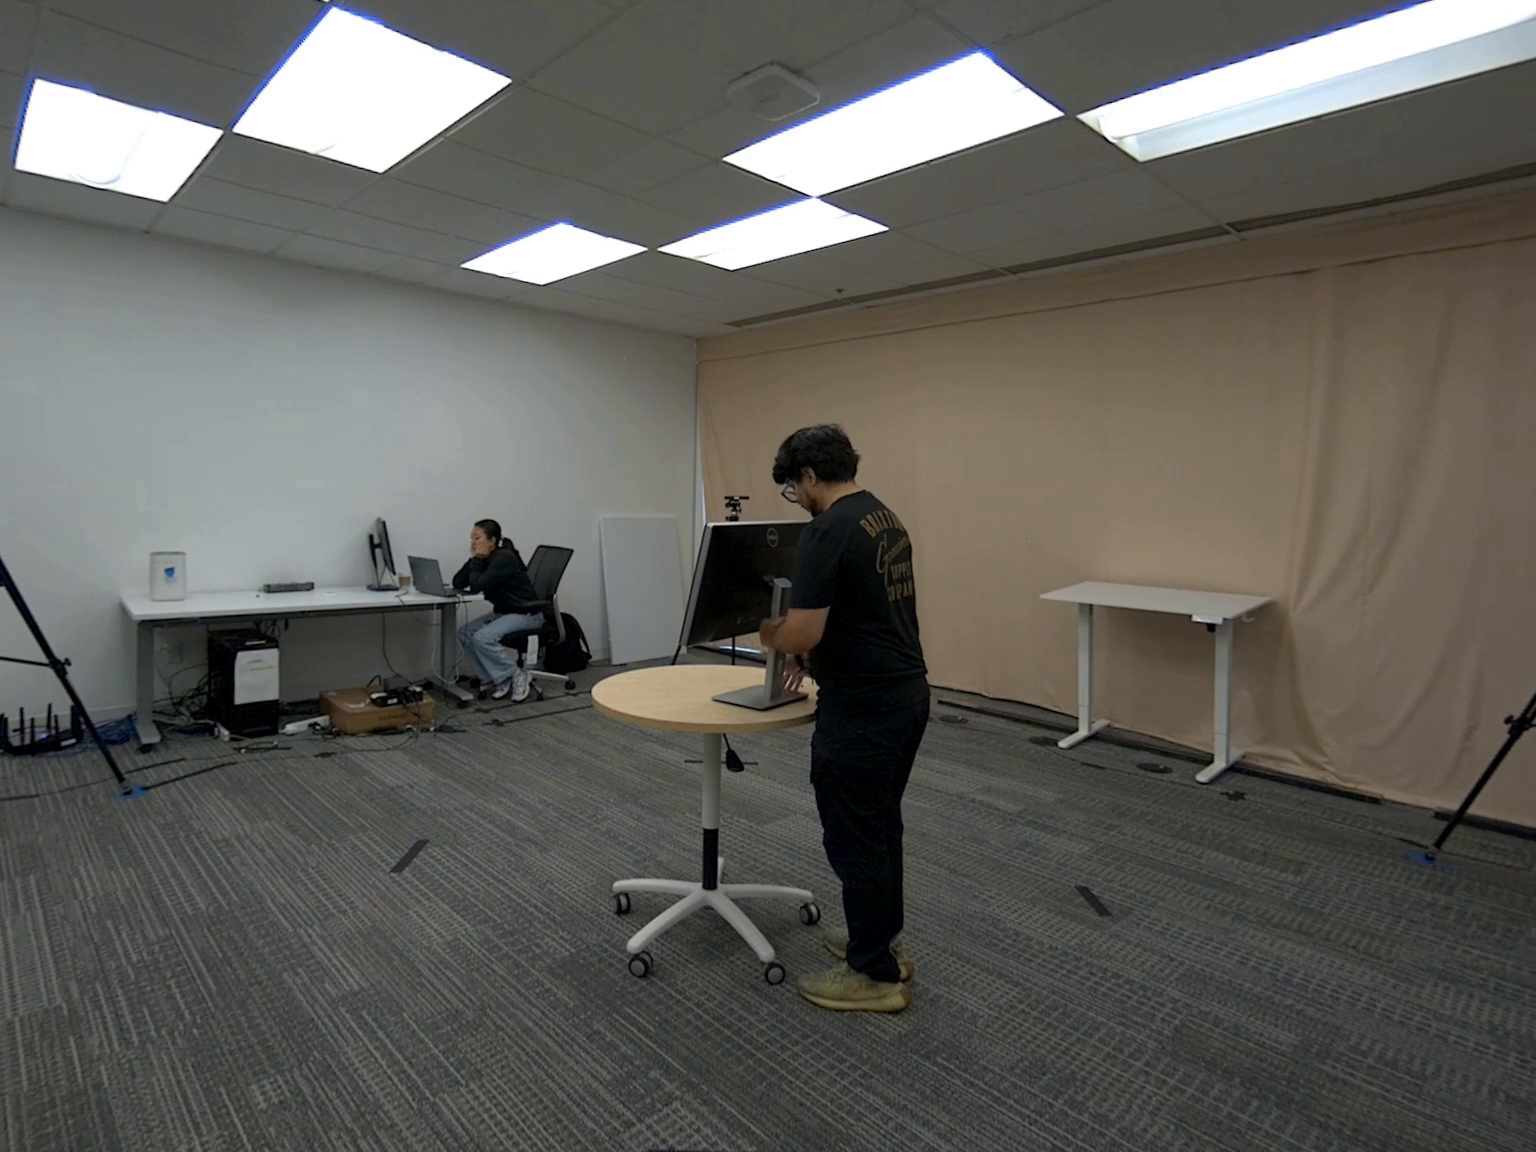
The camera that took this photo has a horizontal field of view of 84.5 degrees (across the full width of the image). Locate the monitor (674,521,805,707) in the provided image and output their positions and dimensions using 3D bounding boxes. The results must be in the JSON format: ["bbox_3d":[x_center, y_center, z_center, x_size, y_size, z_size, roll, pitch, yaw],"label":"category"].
[{"bbox_3d":[0.005,0.114,2.533,0.216,0.551,0.554,13,10,34],"label":"monitor"}]
